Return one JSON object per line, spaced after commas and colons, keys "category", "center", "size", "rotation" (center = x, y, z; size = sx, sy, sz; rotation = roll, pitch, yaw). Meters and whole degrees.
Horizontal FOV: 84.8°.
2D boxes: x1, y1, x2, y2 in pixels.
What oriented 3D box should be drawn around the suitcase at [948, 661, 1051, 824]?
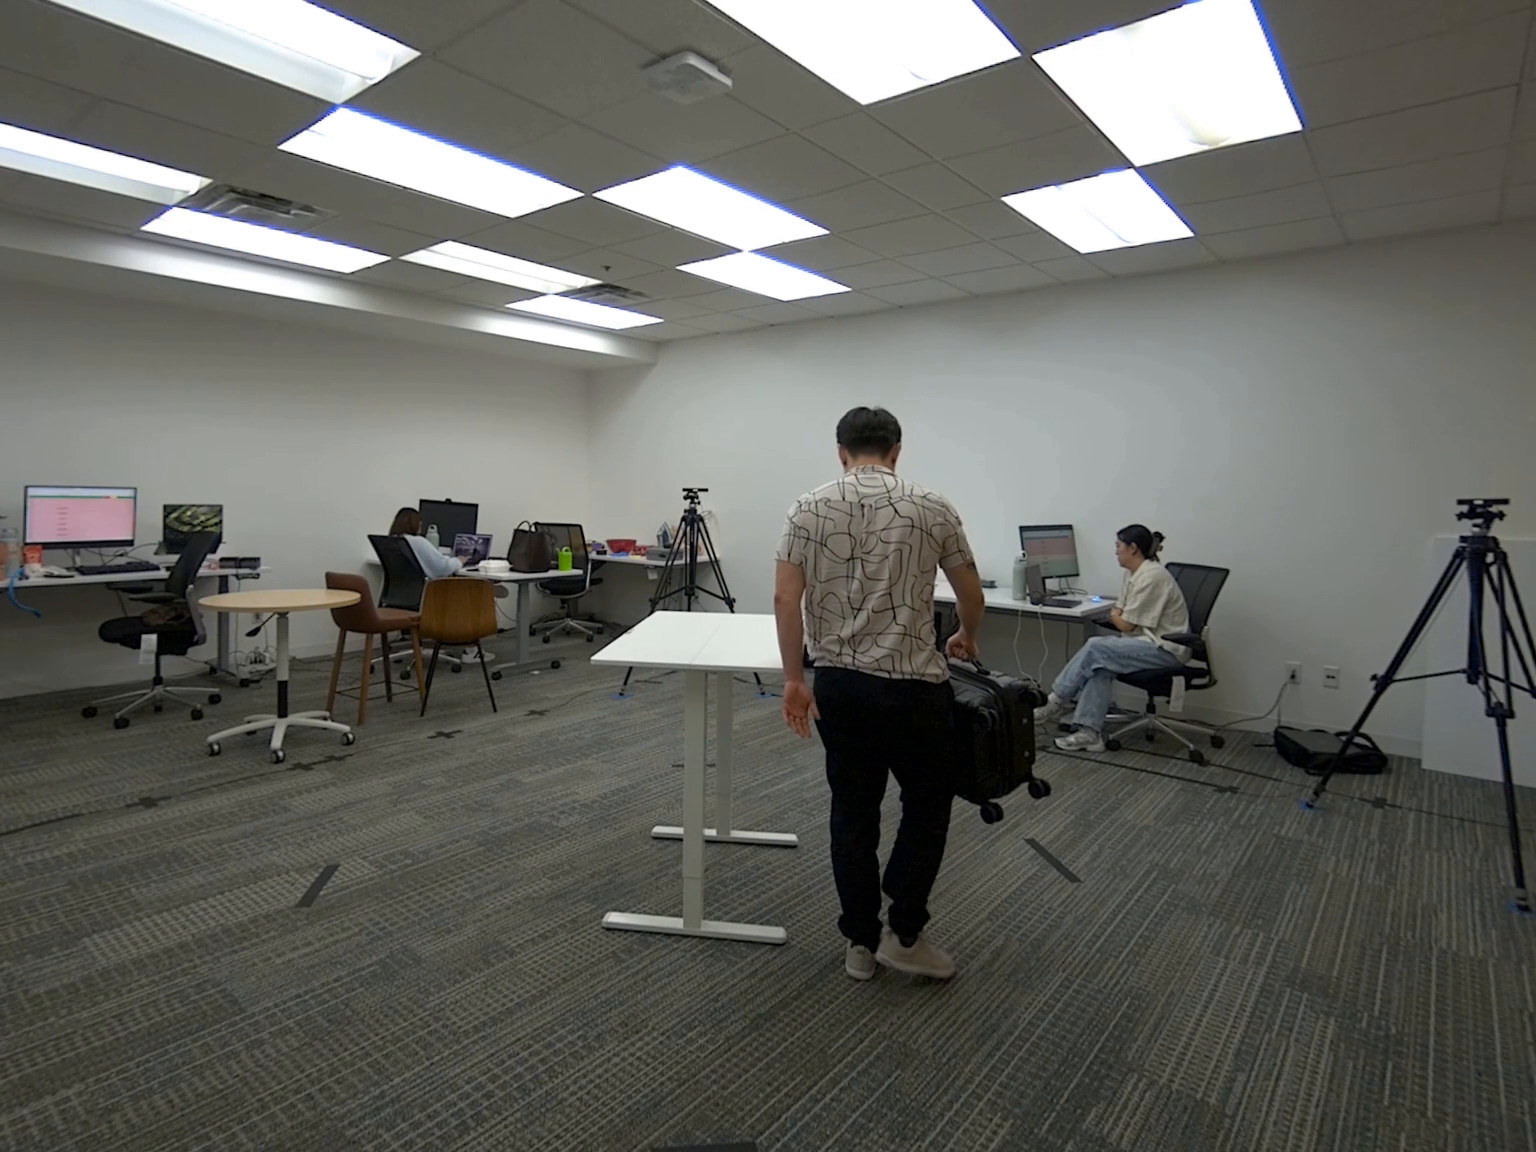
{"category": "suitcase", "center": [0.578, 0.464, 2.708], "size": [0.243, 0.370, 0.569], "rotation": [-14, 16, -30]}
